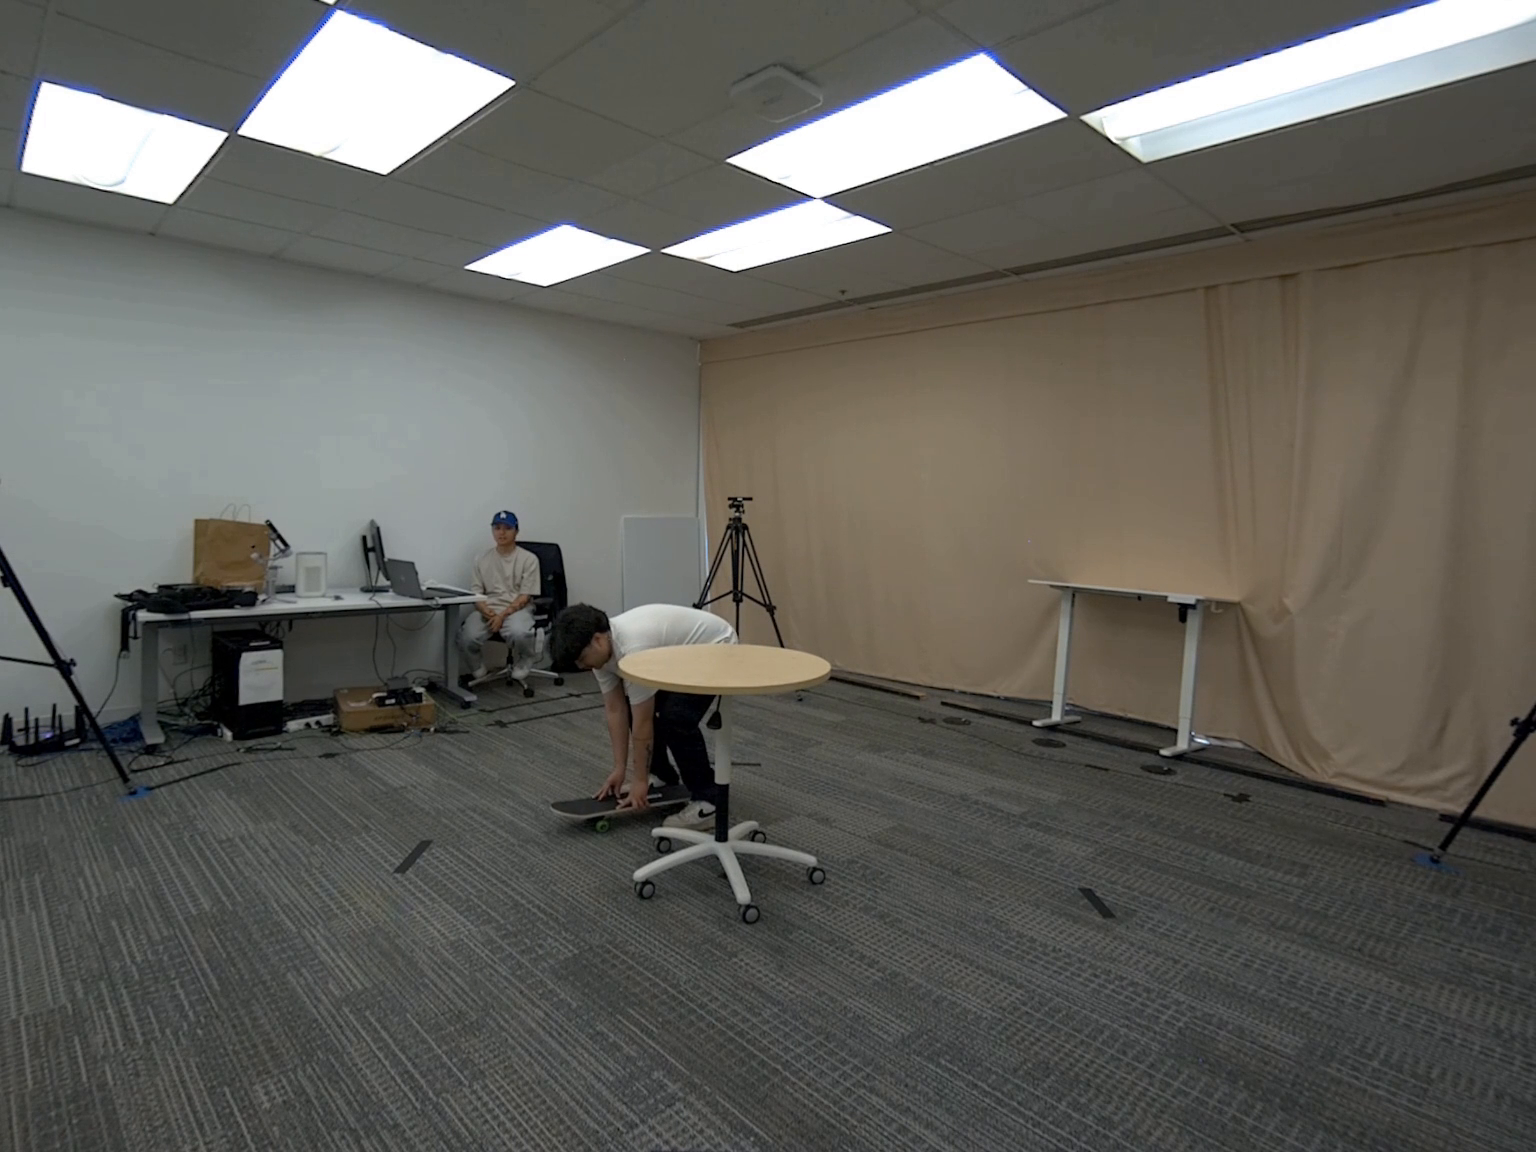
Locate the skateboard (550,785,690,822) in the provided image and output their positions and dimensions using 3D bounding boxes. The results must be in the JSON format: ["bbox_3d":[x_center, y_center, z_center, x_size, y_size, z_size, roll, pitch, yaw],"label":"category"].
[{"bbox_3d":[-0.572,1.002,3.645,0.770,0.110,0.198,-1,5,-29],"label":"skateboard"}]
